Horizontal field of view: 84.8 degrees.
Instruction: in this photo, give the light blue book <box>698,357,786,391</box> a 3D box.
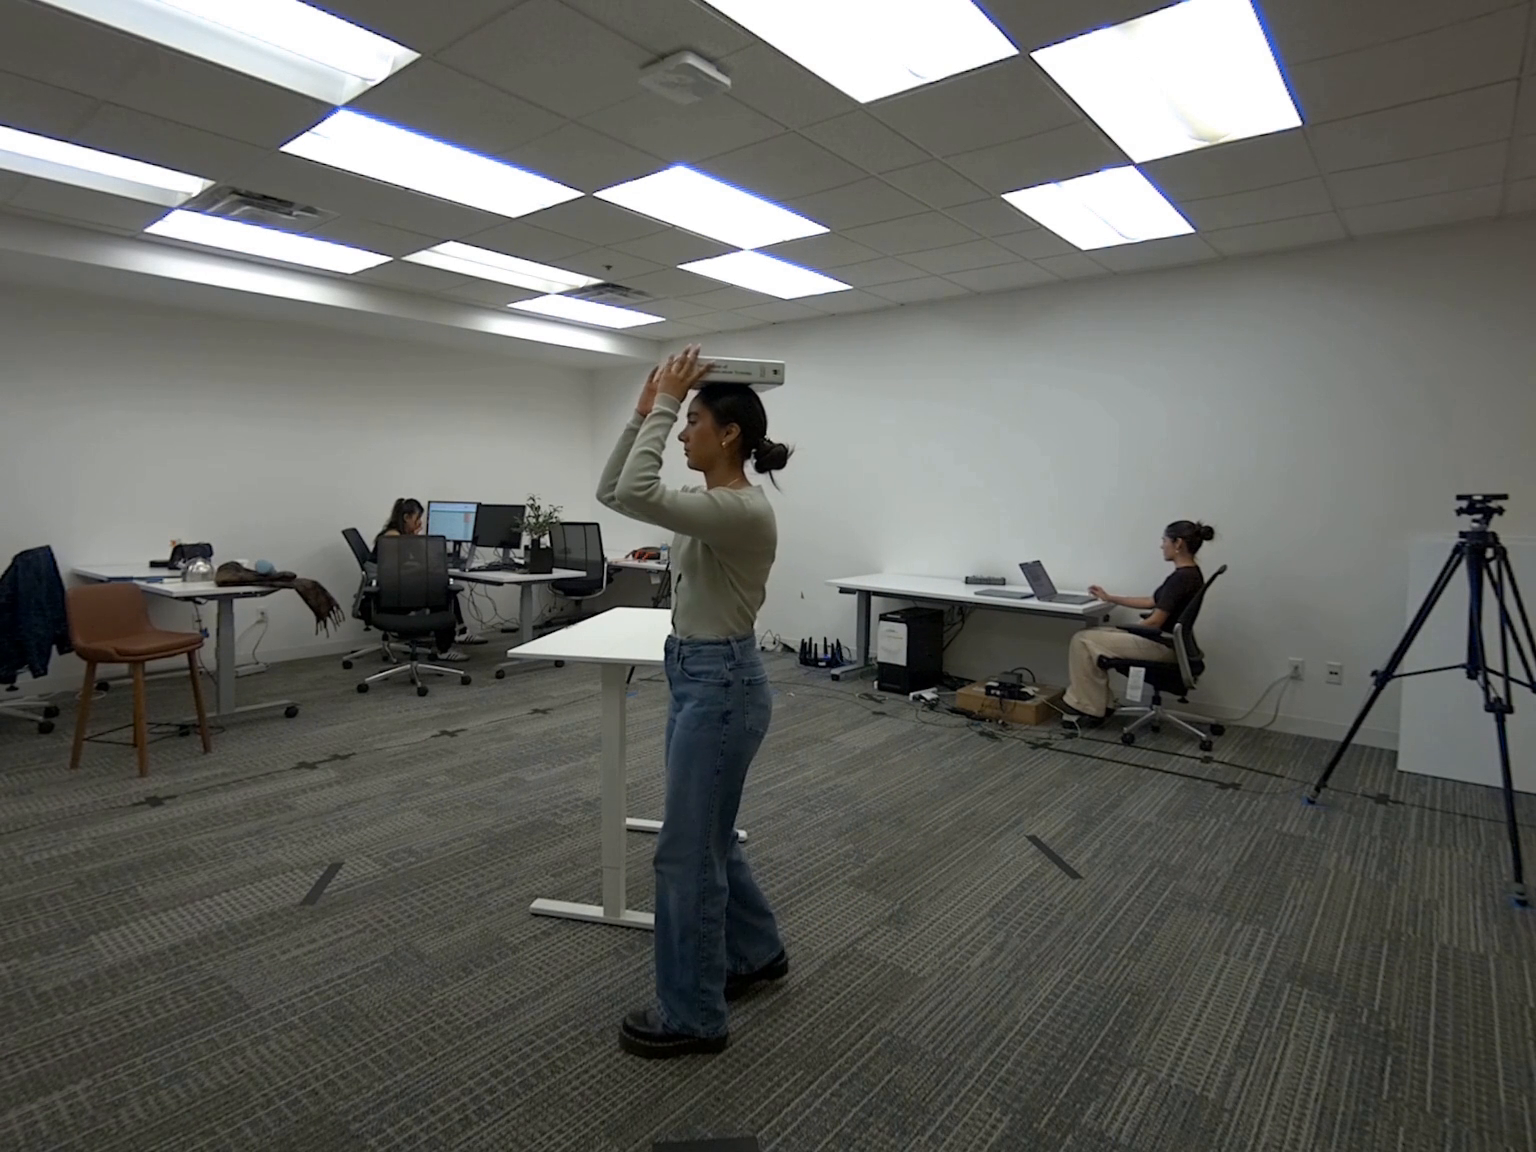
[{"bbox_3d":[-0.122,-0.510,2.106,0.257,0.058,0.196,0,10,-15],"label":"light blue book"}]
